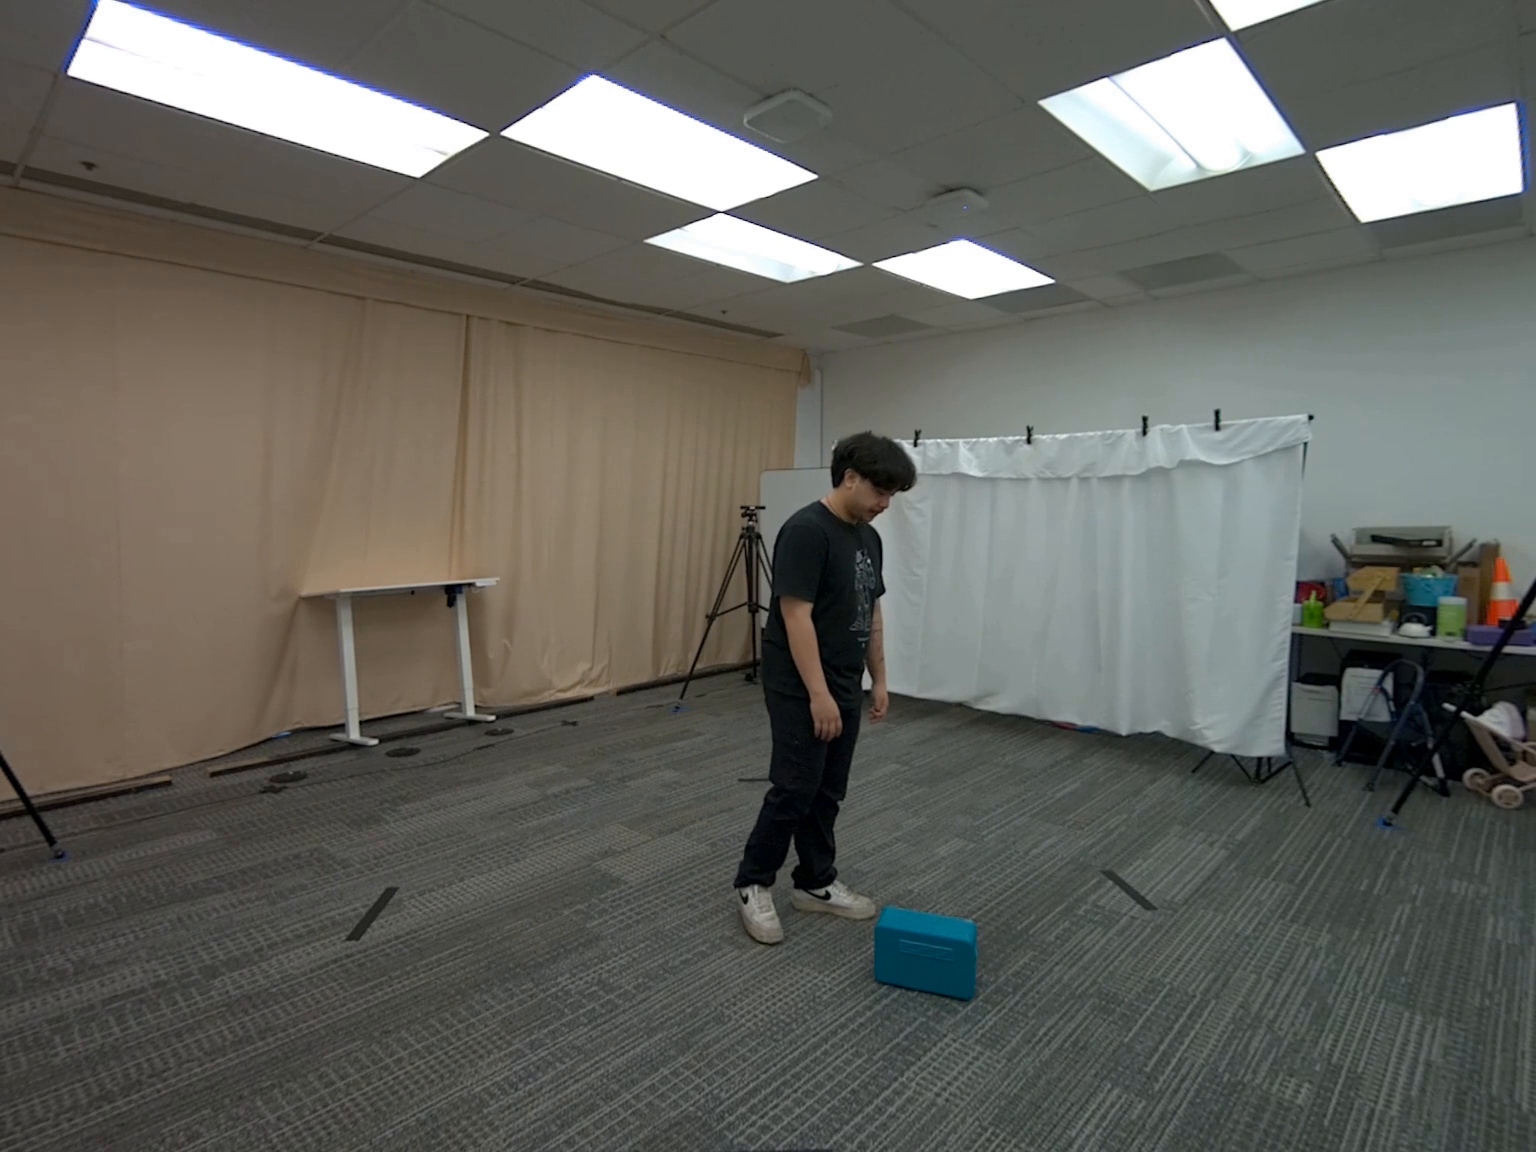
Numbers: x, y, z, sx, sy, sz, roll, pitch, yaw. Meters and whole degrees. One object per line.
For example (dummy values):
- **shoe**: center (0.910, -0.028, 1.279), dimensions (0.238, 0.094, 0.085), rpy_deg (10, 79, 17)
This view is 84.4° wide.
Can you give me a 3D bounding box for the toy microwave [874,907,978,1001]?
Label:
- **toy microwave**: center (0.467, 1.095, 2.461), dimensions (0.292, 0.184, 0.149), rpy_deg (2, 4, 21)
